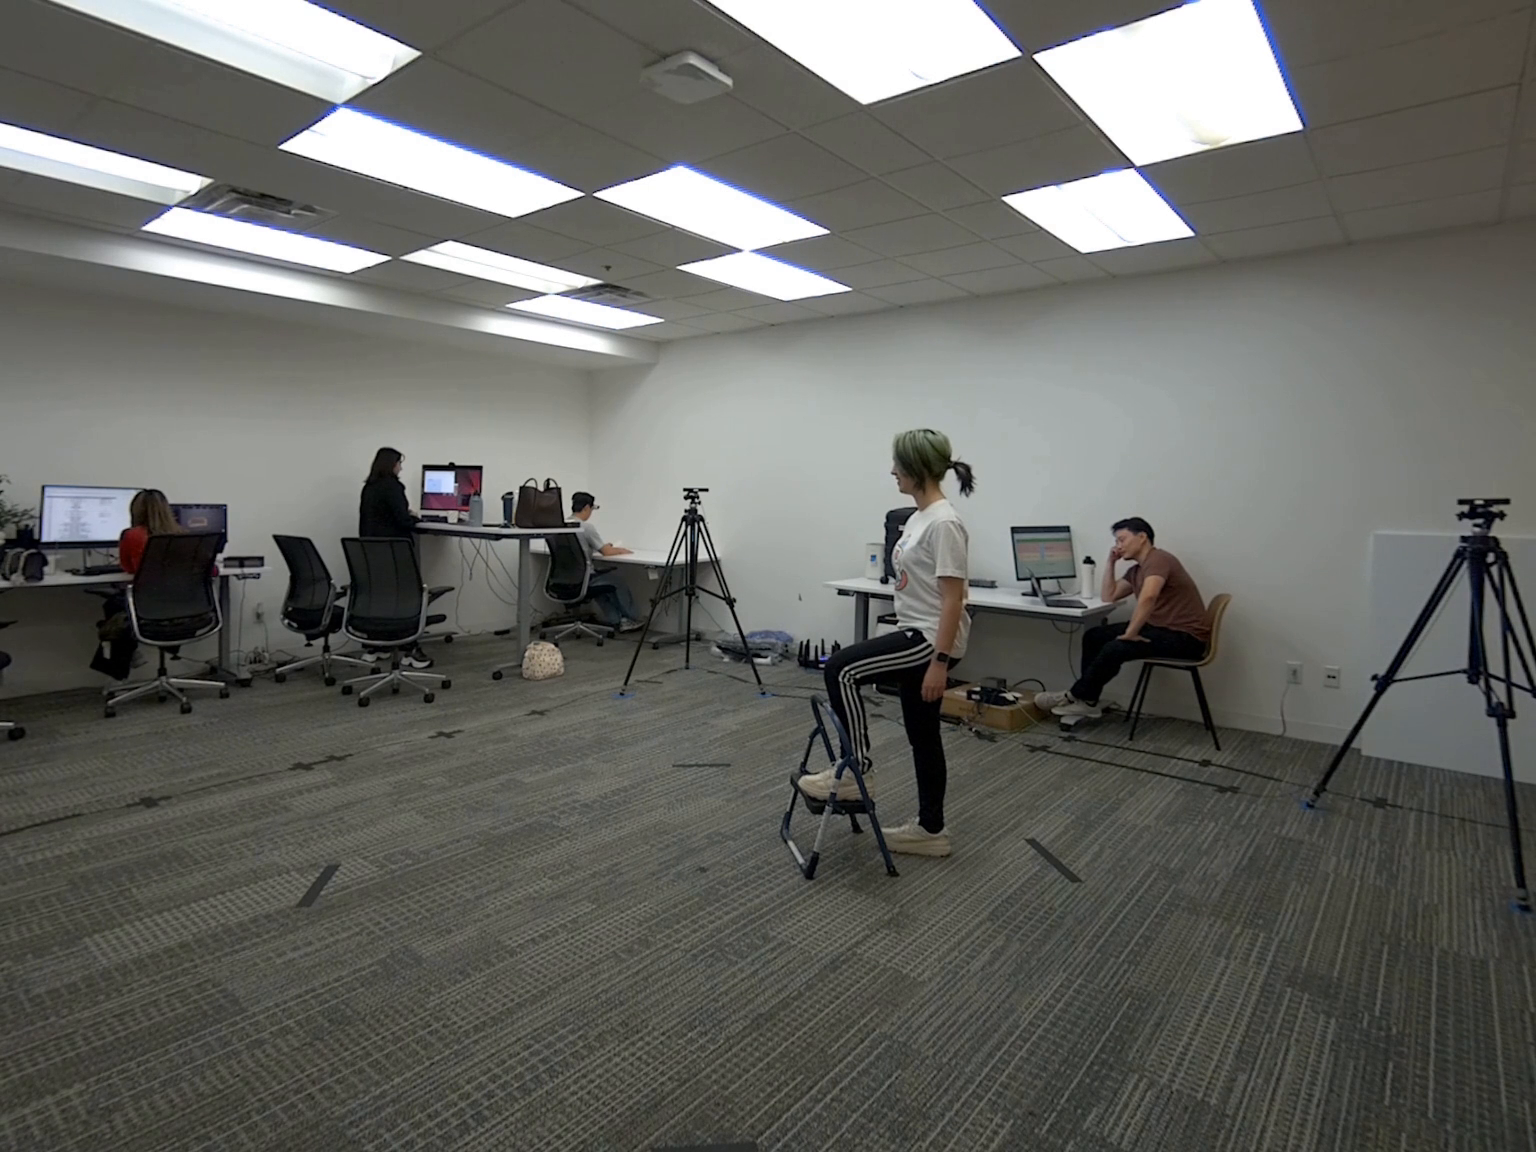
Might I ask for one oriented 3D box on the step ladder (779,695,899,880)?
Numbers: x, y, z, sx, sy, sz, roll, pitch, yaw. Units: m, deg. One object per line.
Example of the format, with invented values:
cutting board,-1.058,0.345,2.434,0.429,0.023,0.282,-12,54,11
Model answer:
step ladder,0.260,0.769,3.257,0.345,0.604,0.437,1,4,-13
